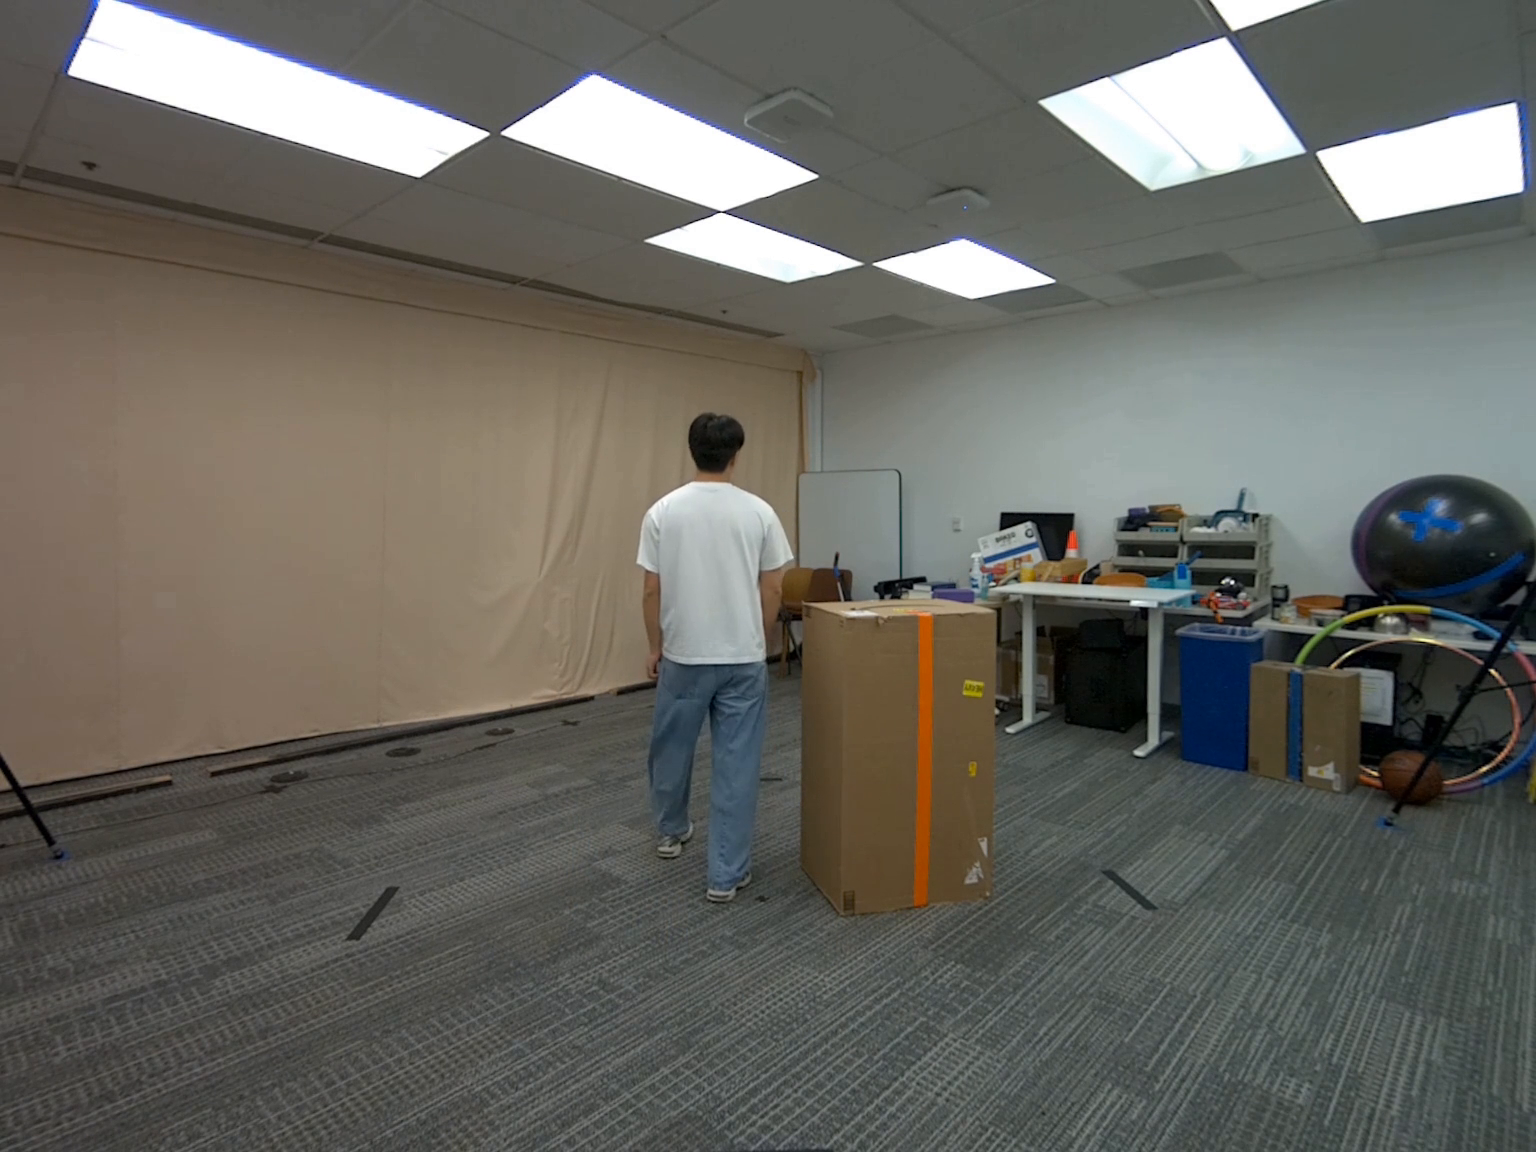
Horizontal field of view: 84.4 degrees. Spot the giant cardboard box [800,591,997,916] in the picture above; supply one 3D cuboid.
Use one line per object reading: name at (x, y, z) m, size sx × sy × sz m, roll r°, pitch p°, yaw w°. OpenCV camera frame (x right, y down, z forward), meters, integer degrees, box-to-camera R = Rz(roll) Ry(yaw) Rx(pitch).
giant cardboard box at (0.469, 0.625, 3.089) m, size 0.568 × 1.024 × 0.434 m, roll -1°, pitch 3°, yaw -17°
